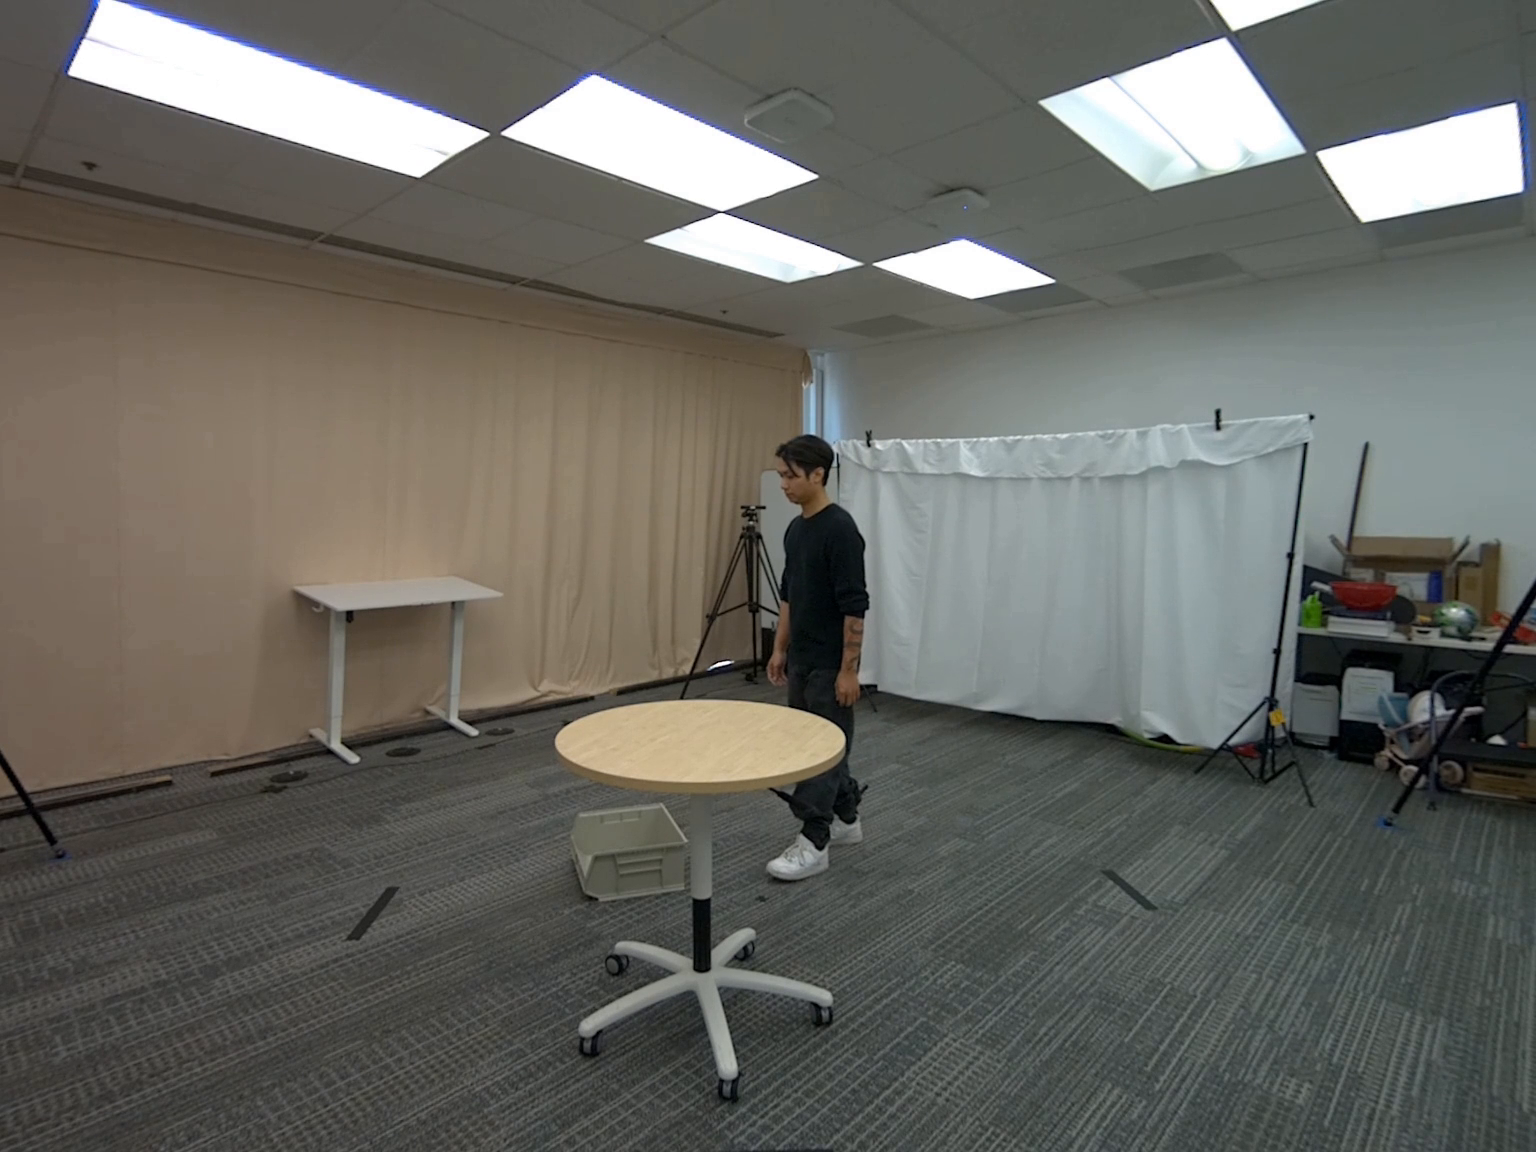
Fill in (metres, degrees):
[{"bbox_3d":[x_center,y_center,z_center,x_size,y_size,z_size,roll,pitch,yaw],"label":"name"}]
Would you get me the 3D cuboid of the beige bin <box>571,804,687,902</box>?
[{"bbox_3d":[-0.544,1.044,3.195,0.371,0.188,0.431,-1,4,-18],"label":"beige bin"}]
